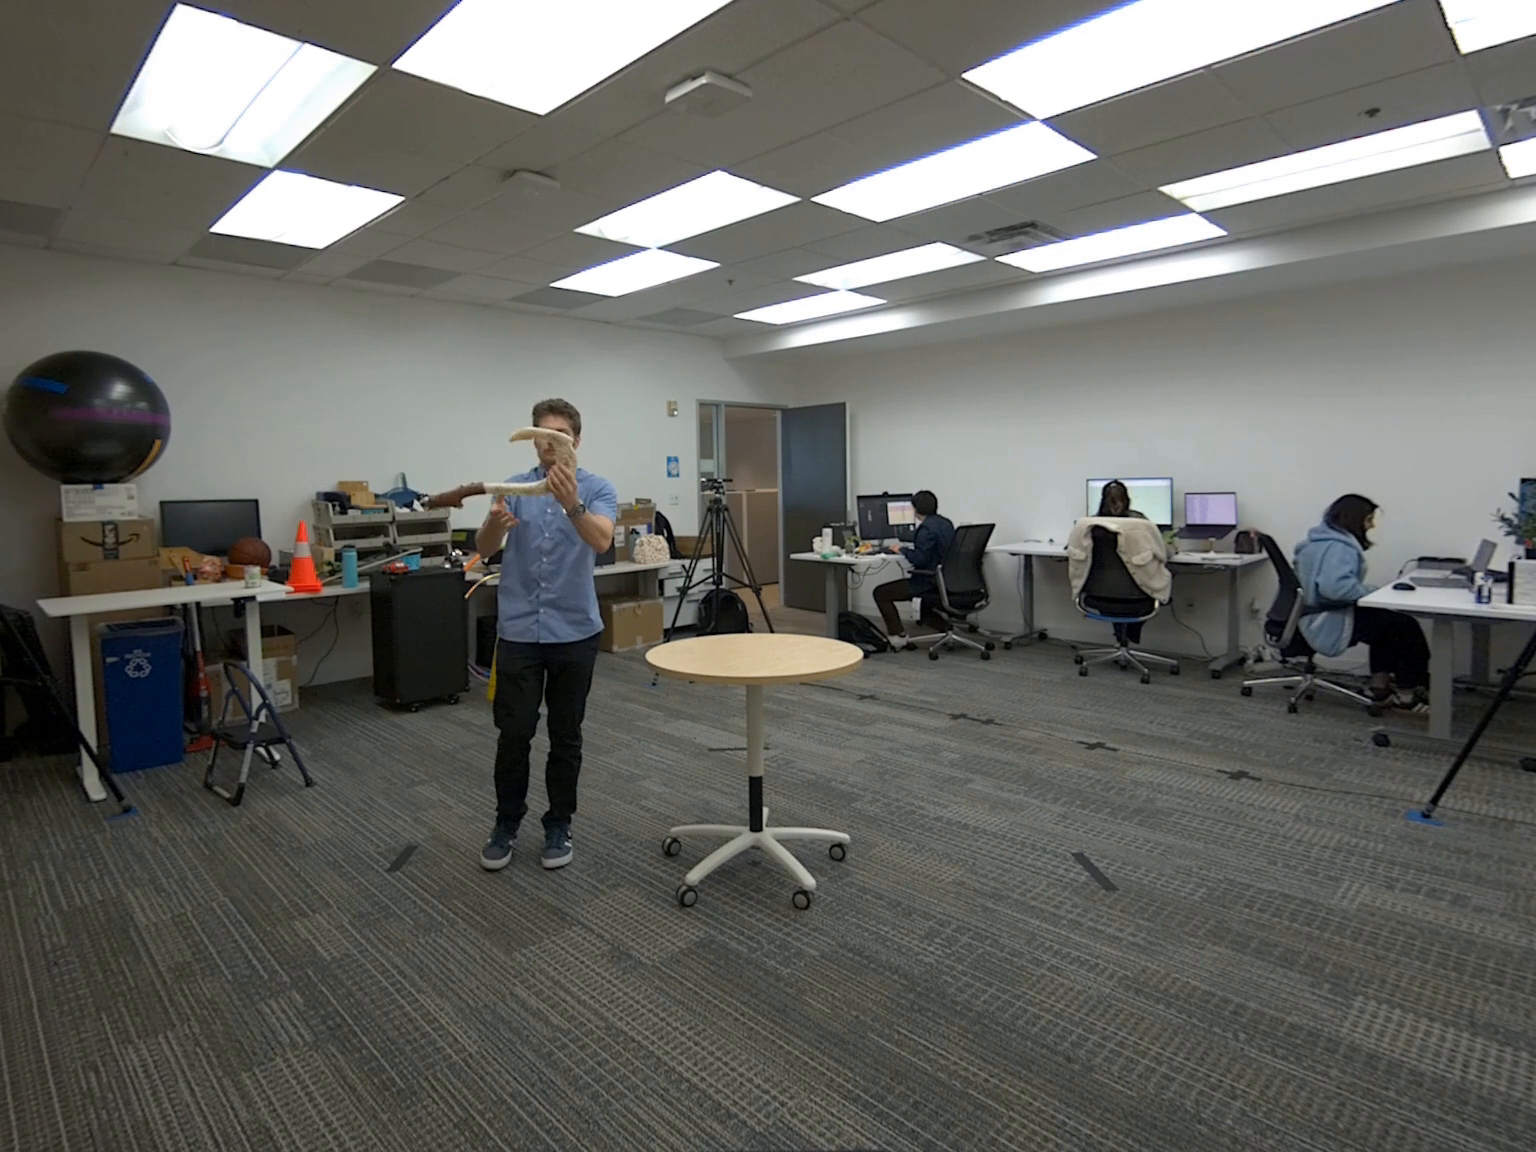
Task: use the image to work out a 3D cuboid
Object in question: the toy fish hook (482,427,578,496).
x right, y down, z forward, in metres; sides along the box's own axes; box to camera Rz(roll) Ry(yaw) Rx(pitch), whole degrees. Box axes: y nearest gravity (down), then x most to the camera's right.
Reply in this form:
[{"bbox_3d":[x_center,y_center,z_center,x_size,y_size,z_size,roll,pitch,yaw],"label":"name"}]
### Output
[{"bbox_3d":[-0.866,-0.327,2.705,0.501,0.221,0.050,-17,17,-16],"label":"toy fish hook"}]
